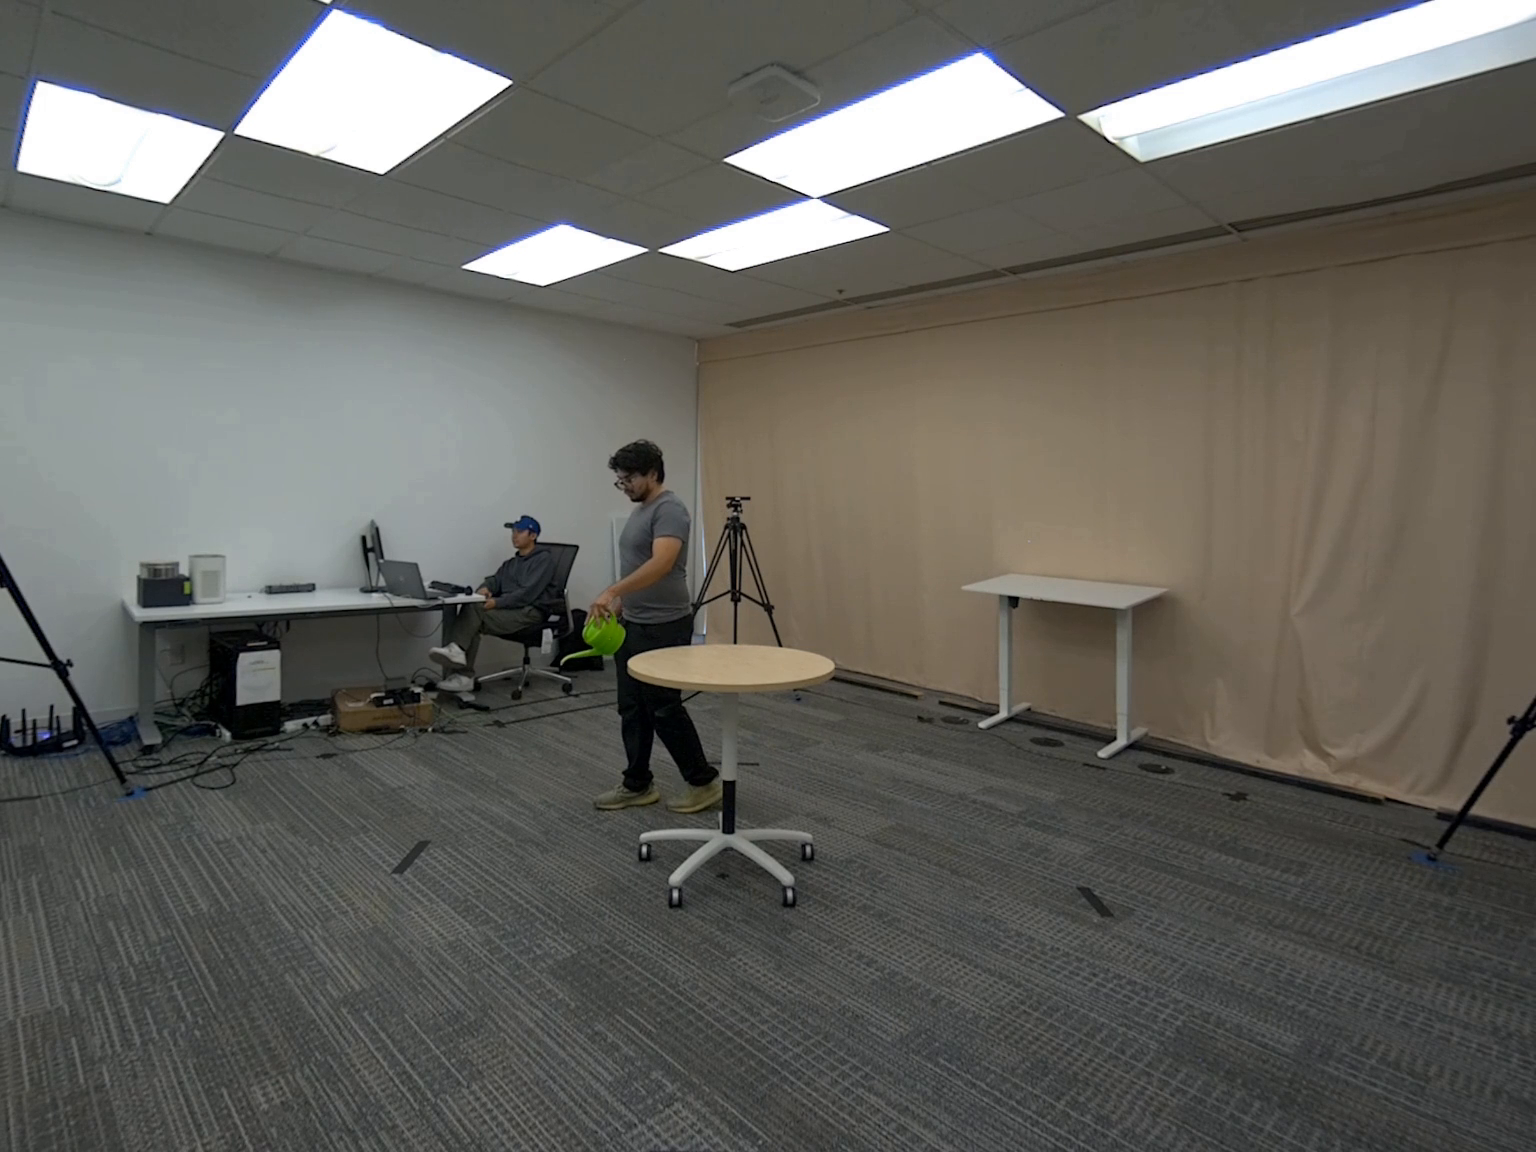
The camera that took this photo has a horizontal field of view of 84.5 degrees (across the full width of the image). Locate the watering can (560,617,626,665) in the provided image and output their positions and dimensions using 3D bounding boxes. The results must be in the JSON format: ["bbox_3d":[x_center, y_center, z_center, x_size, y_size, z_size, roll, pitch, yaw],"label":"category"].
[{"bbox_3d":[-0.715,0.264,3.384,0.171,0.278,0.101,42,1,-44],"label":"watering can"}]
